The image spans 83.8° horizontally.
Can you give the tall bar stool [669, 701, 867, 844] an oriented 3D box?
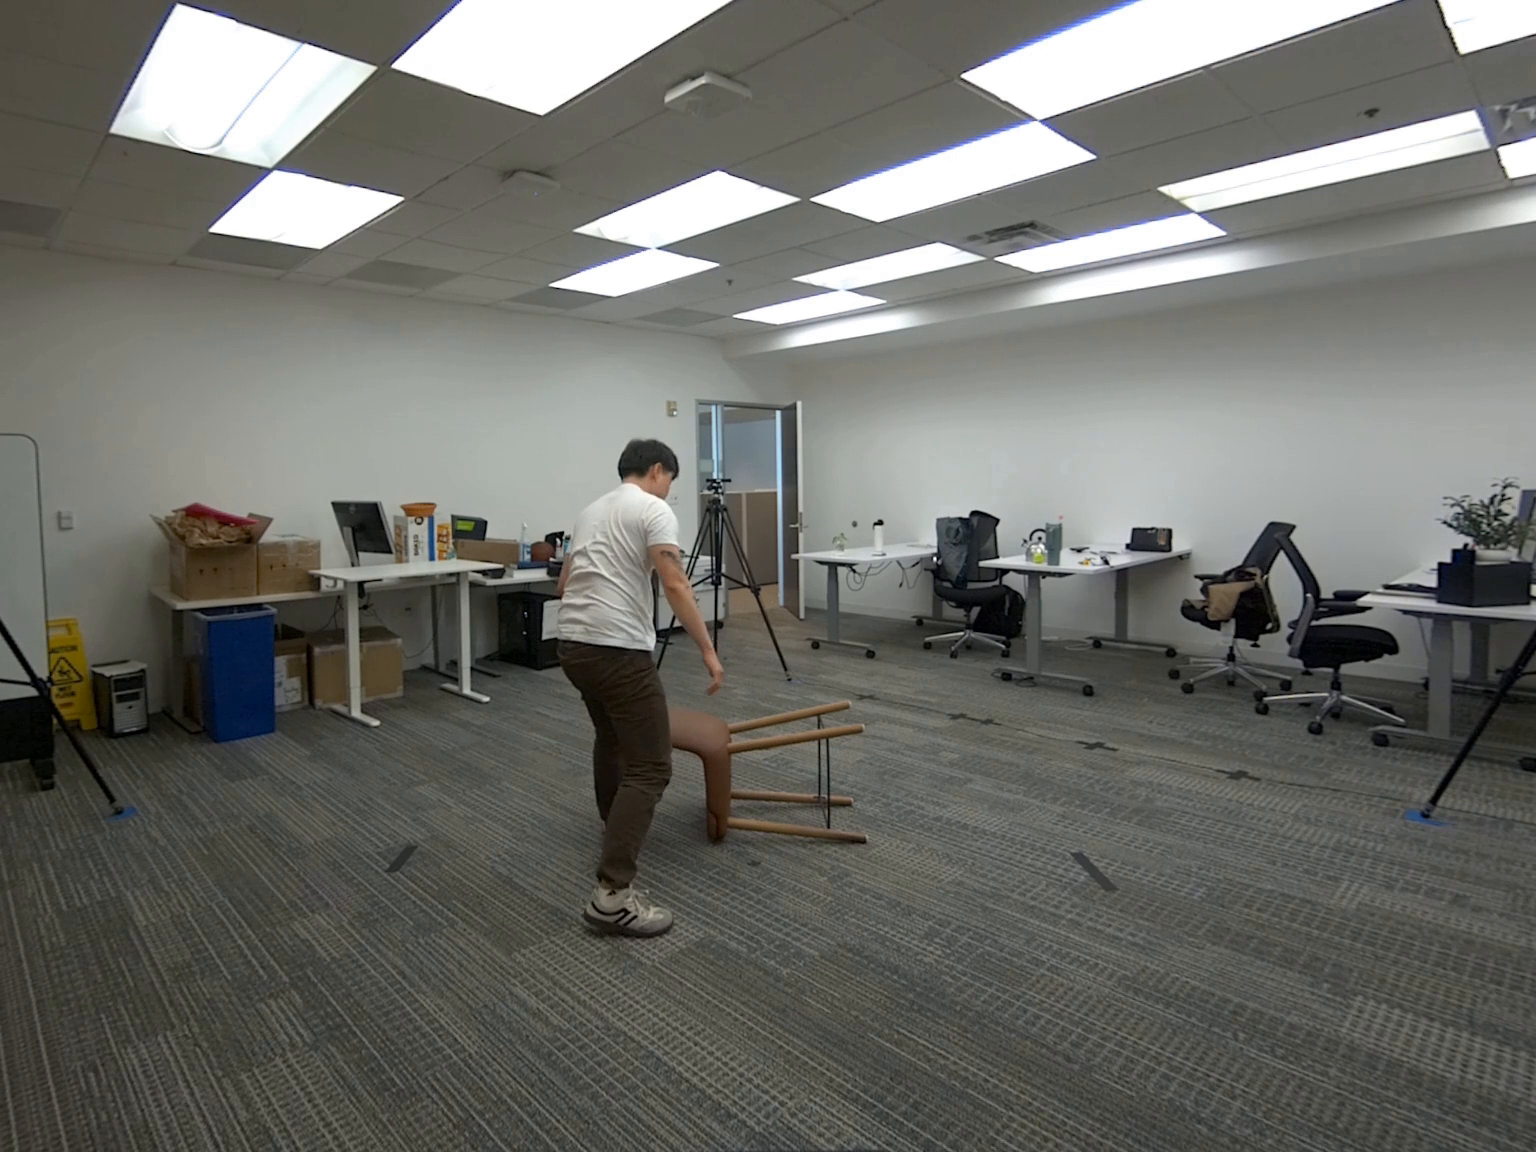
[{"bbox_3d":[-0.071,0.777,3.450,0.890,0.466,0.458,0,5,-1],"label":"tall bar stool"}]
